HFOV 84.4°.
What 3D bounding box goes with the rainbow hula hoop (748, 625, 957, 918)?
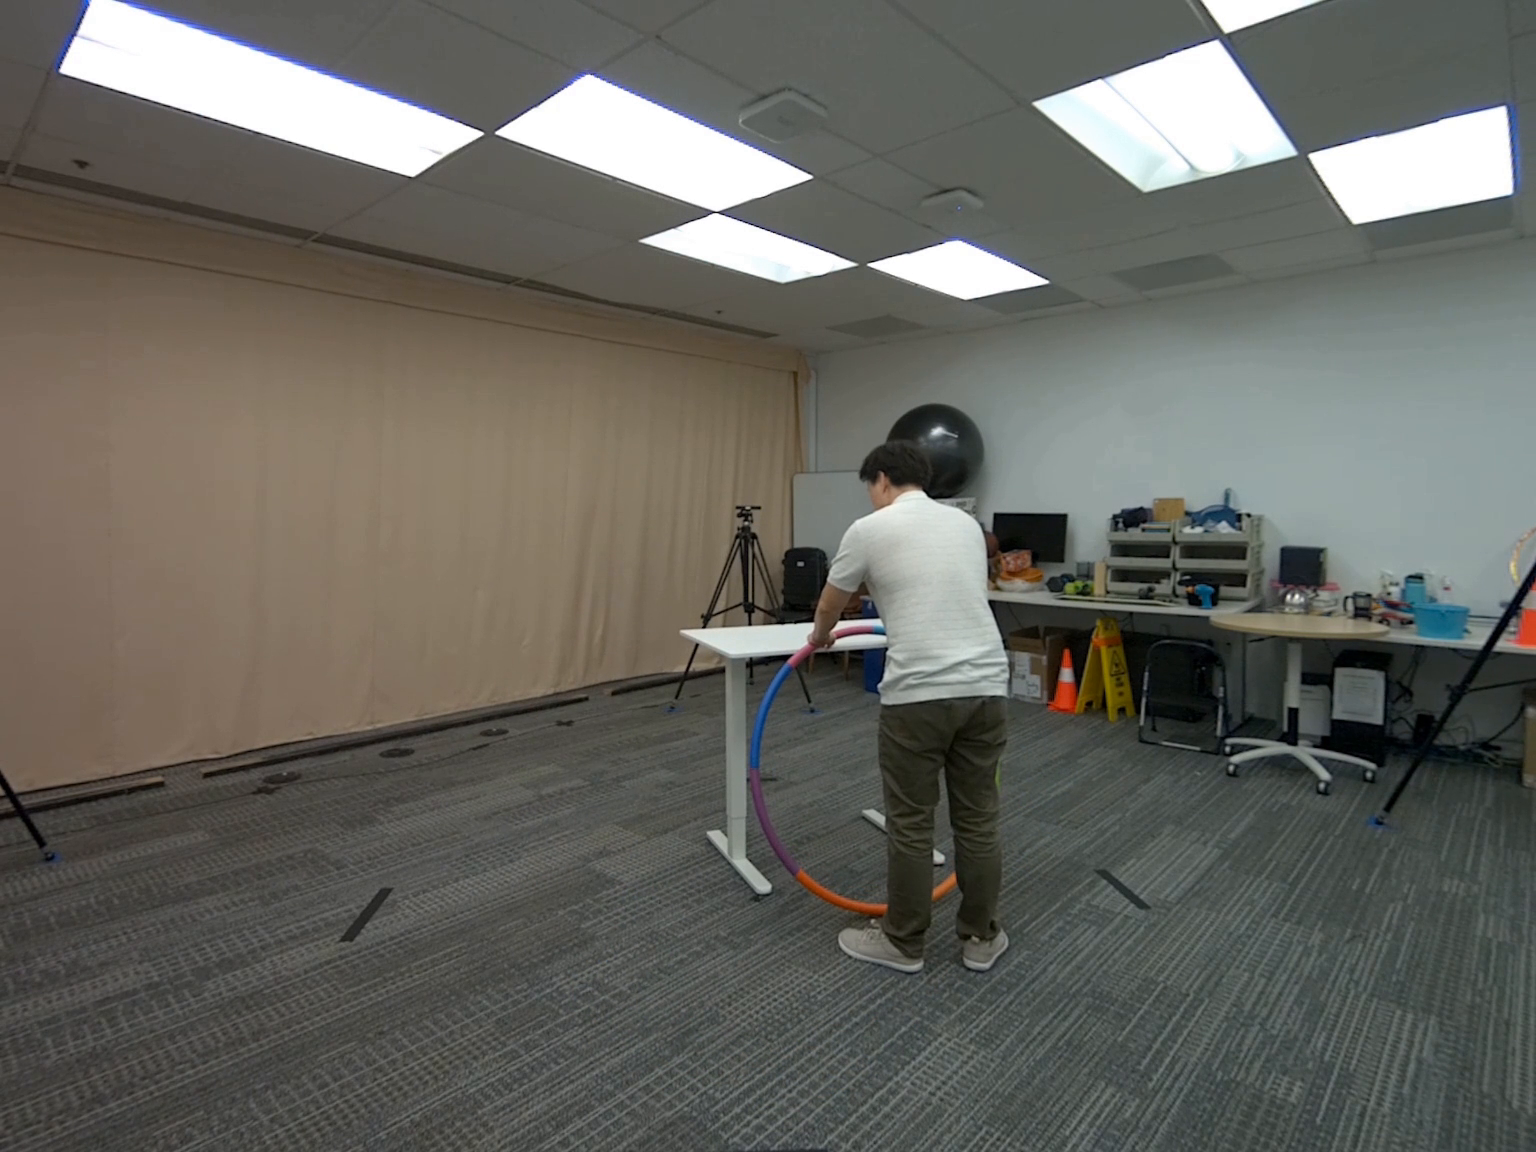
[{"bbox_3d":[0.405,0.668,2.965,0.959,0.987,0.036,-2,-13,-19],"label":"rainbow hula hoop"}]
